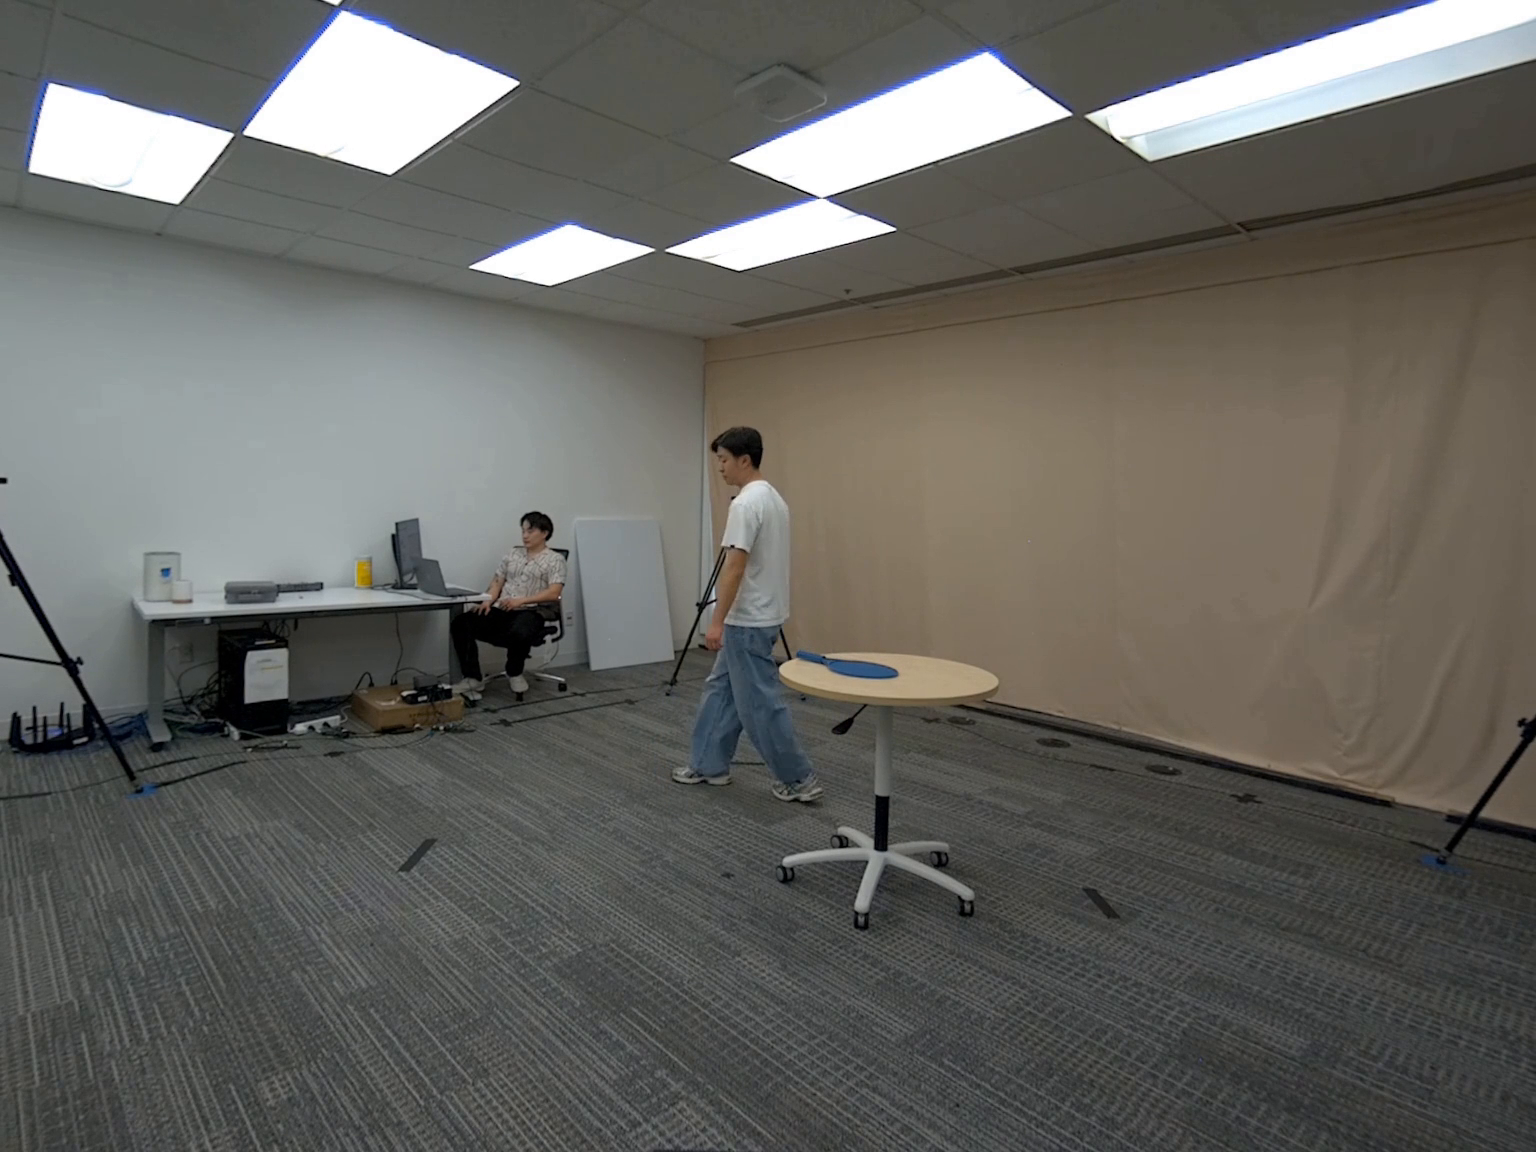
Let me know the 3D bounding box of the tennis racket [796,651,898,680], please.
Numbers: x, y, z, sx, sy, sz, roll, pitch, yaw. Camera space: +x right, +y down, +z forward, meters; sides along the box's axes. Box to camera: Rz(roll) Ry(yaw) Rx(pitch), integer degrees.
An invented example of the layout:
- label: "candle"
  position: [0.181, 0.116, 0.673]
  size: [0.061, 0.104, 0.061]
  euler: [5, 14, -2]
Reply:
- label: "tennis racket"
  position: [0.275, 0.329, 3.066]
  size: [0.209, 0.031, 0.444]
  euler: [-4, 9, -44]
